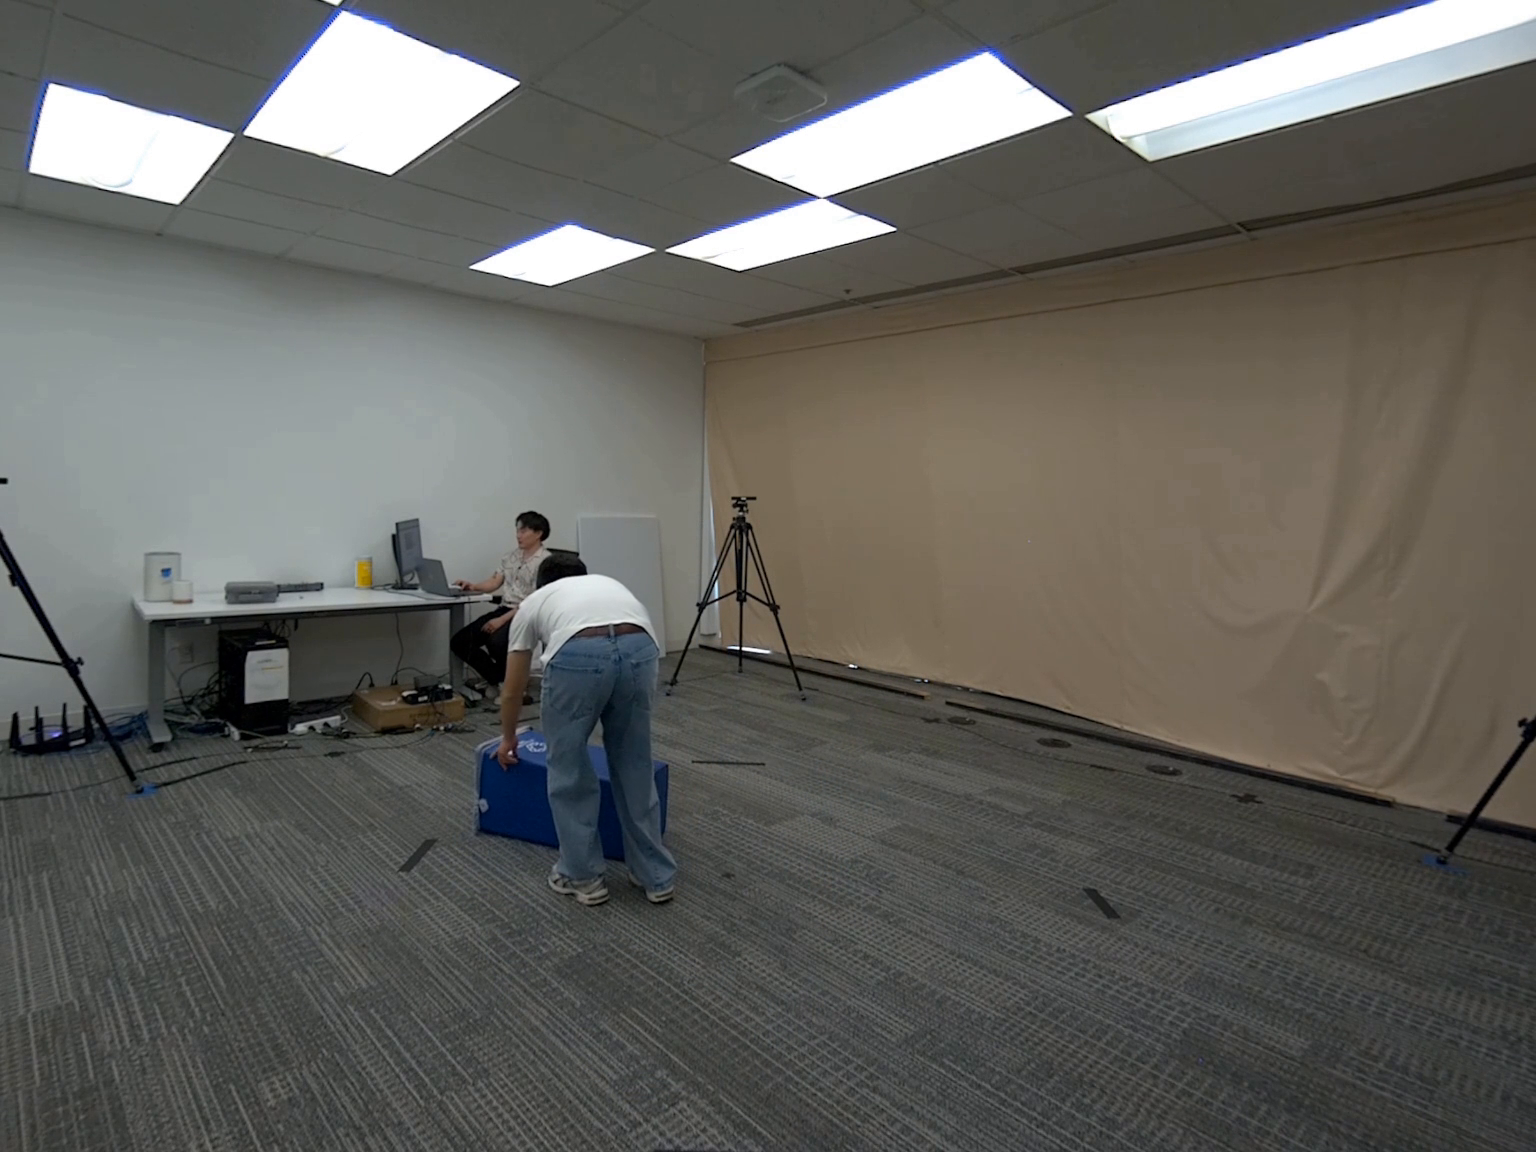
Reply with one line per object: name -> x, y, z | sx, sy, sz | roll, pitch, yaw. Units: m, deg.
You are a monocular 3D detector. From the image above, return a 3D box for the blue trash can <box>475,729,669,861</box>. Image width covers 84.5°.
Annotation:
blue trash can -> -0.807, 0.894, 3.447 | 0.726, 0.377, 0.369 | 7, 6, 20
